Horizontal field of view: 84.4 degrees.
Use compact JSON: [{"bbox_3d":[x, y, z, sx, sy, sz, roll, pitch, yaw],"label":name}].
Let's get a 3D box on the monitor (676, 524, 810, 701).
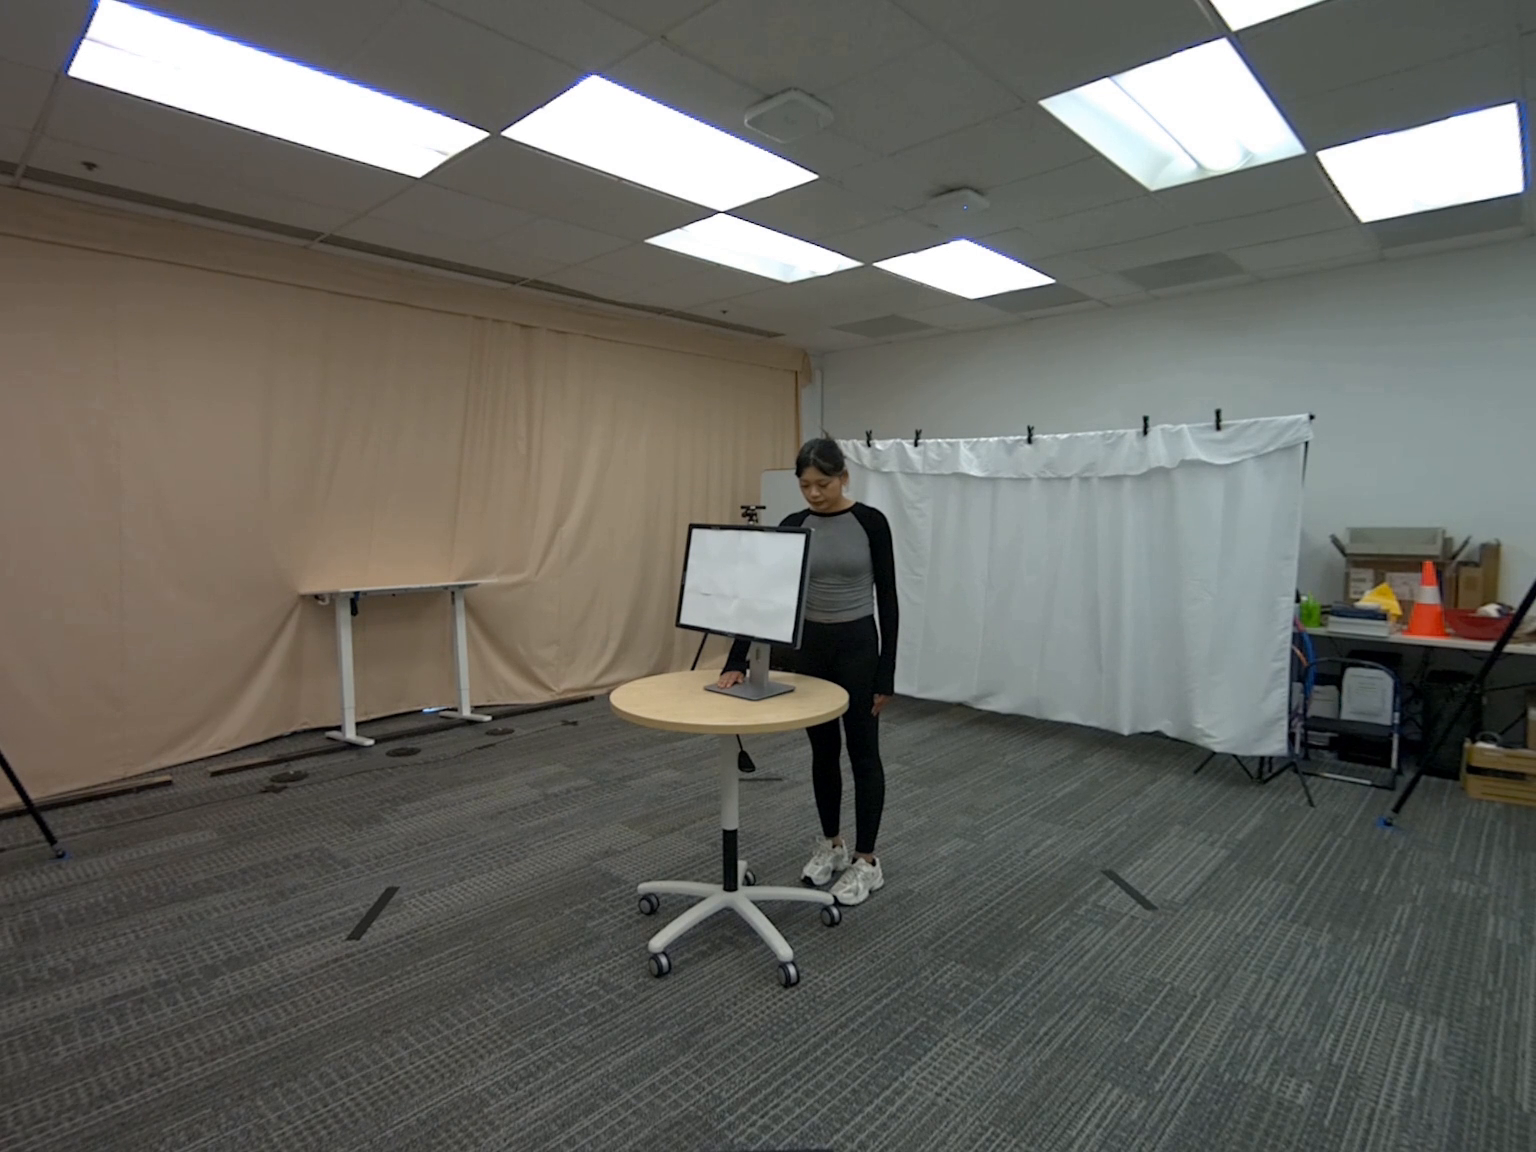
[{"bbox_3d":[-0.060,0.108,2.744,0.557,0.521,0.181,4,7,44],"label":"monitor"}]
